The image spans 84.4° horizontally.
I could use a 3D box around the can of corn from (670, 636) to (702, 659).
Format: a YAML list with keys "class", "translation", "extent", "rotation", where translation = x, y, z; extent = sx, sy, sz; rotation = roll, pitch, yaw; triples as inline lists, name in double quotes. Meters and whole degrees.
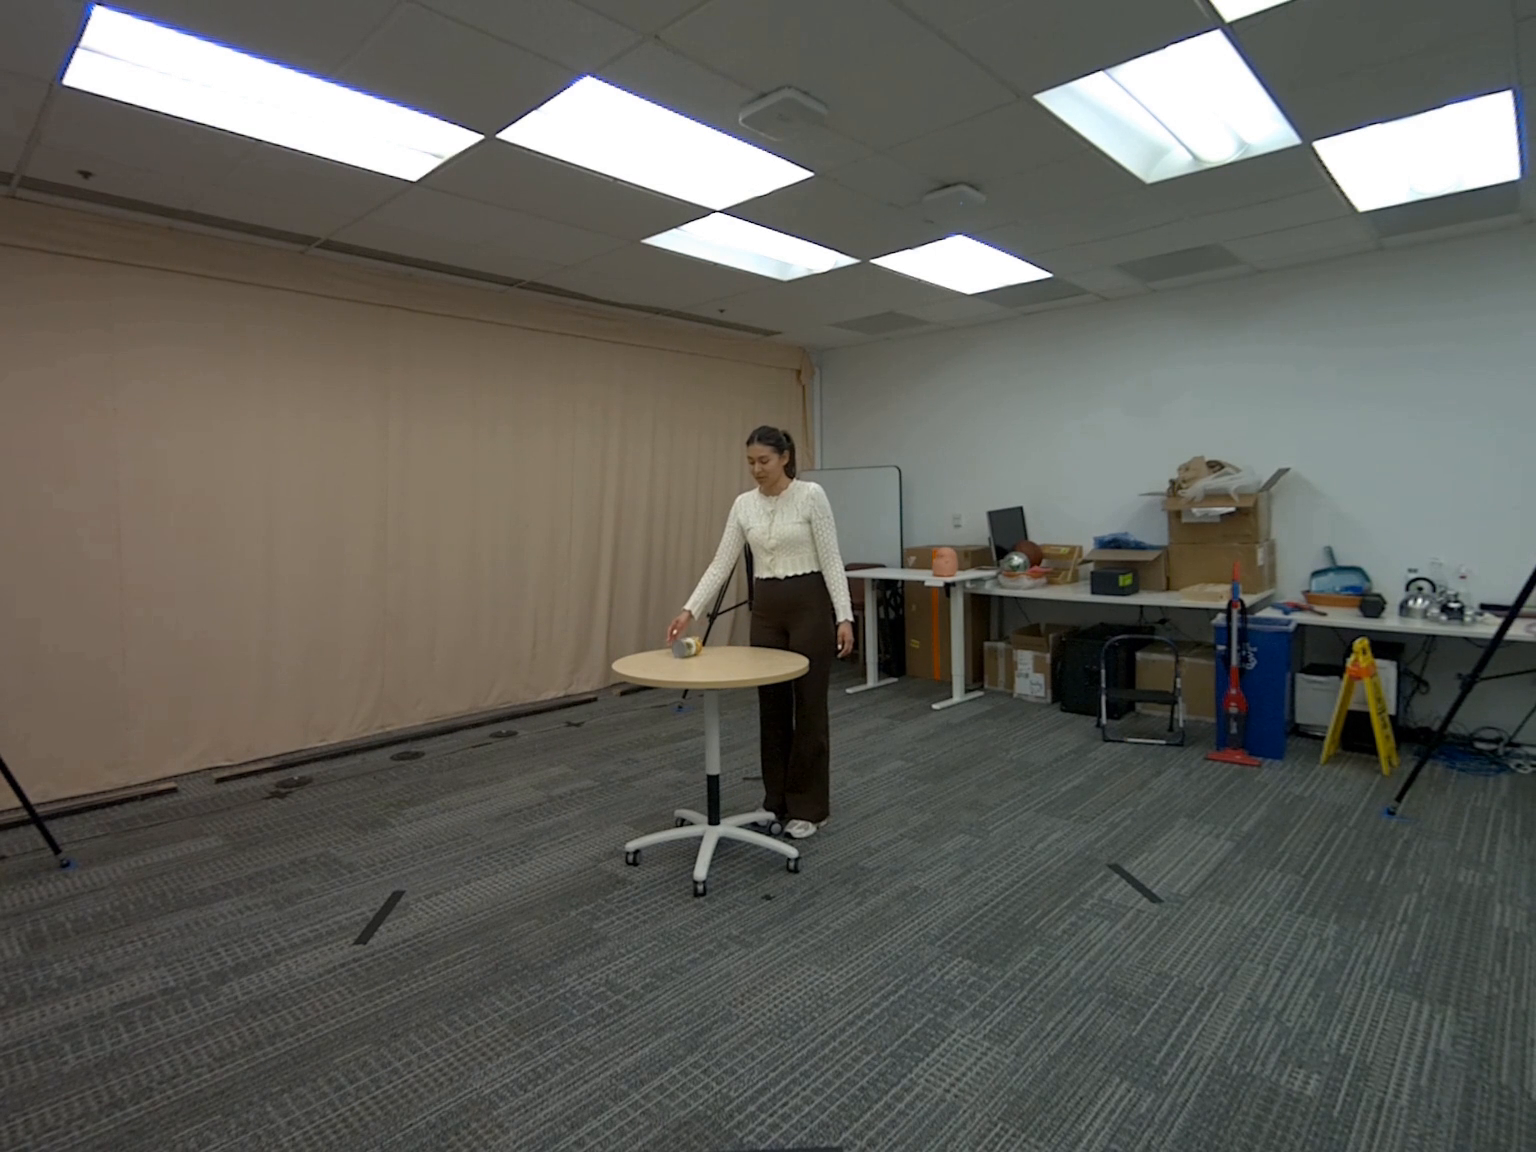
- class: "can of corn"
  translation: [-0.324, 0.288, 3.418]
  extent: [0.076, 0.074, 0.108]
  rotation: [1, 5, 27]
